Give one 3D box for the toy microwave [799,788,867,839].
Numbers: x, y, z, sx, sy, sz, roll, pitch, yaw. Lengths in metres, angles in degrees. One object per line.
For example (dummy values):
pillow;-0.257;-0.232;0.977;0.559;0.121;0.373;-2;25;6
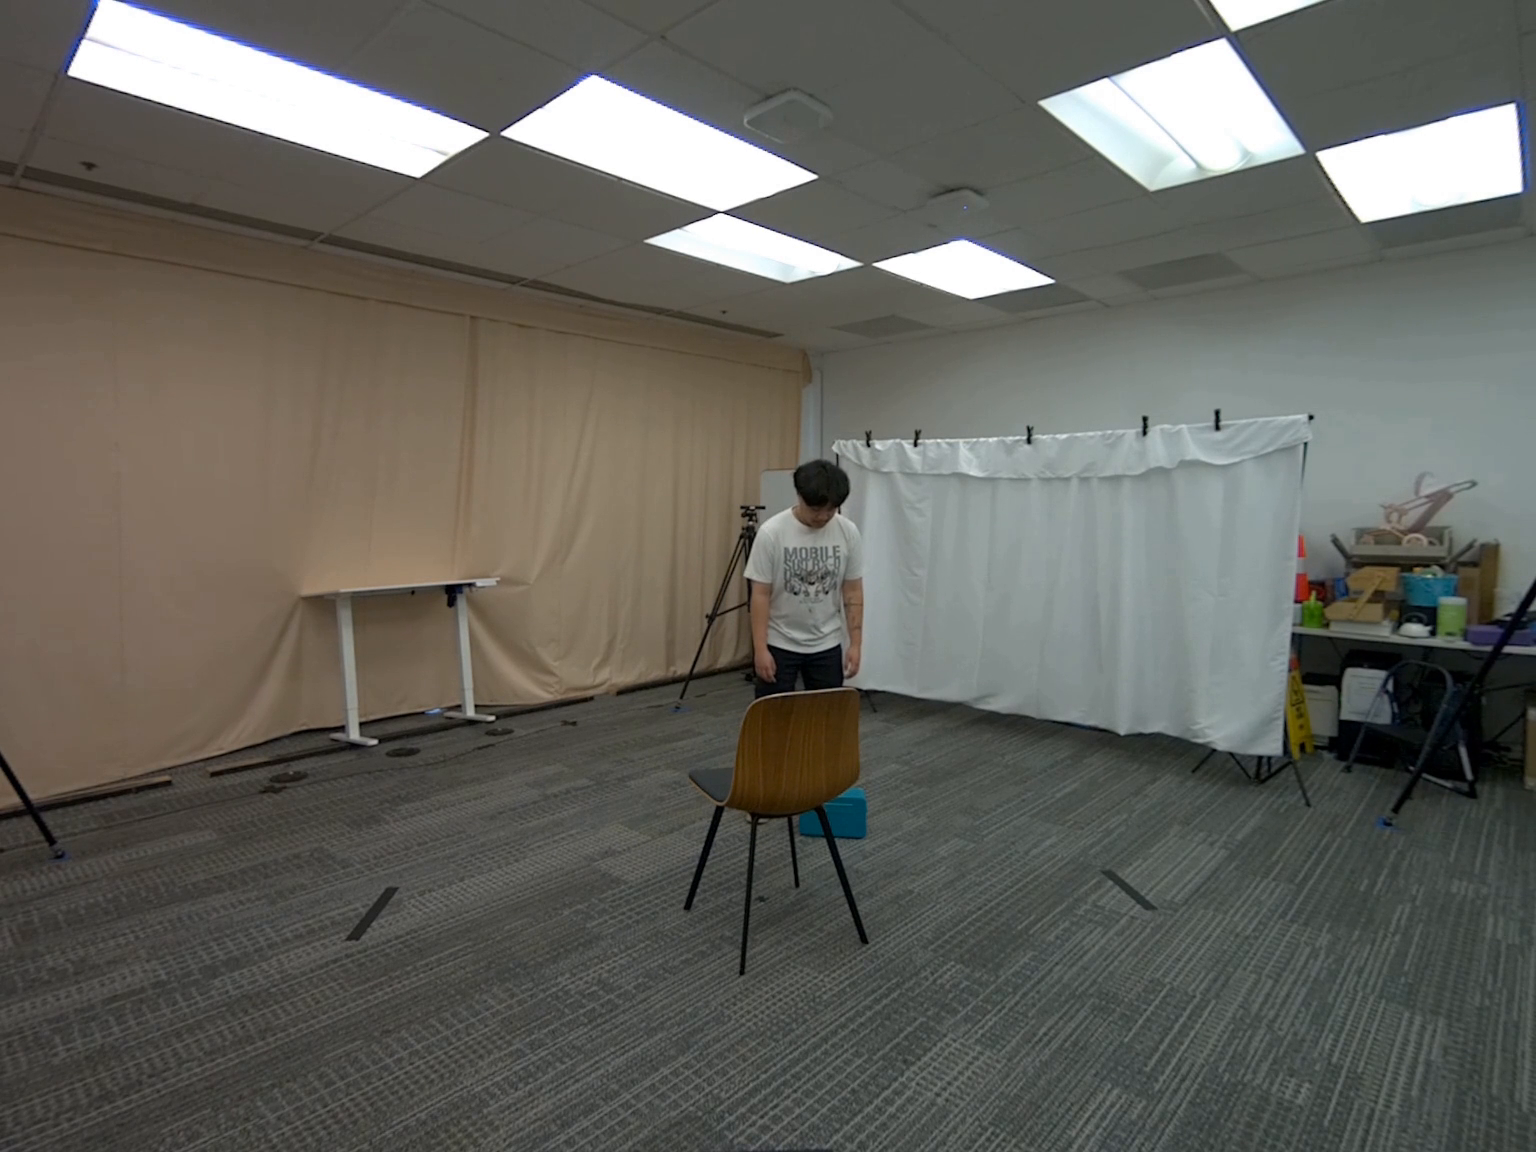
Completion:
toy microwave;0.278;1.000;3.592;0.288;0.183;0.152;1;6;6
